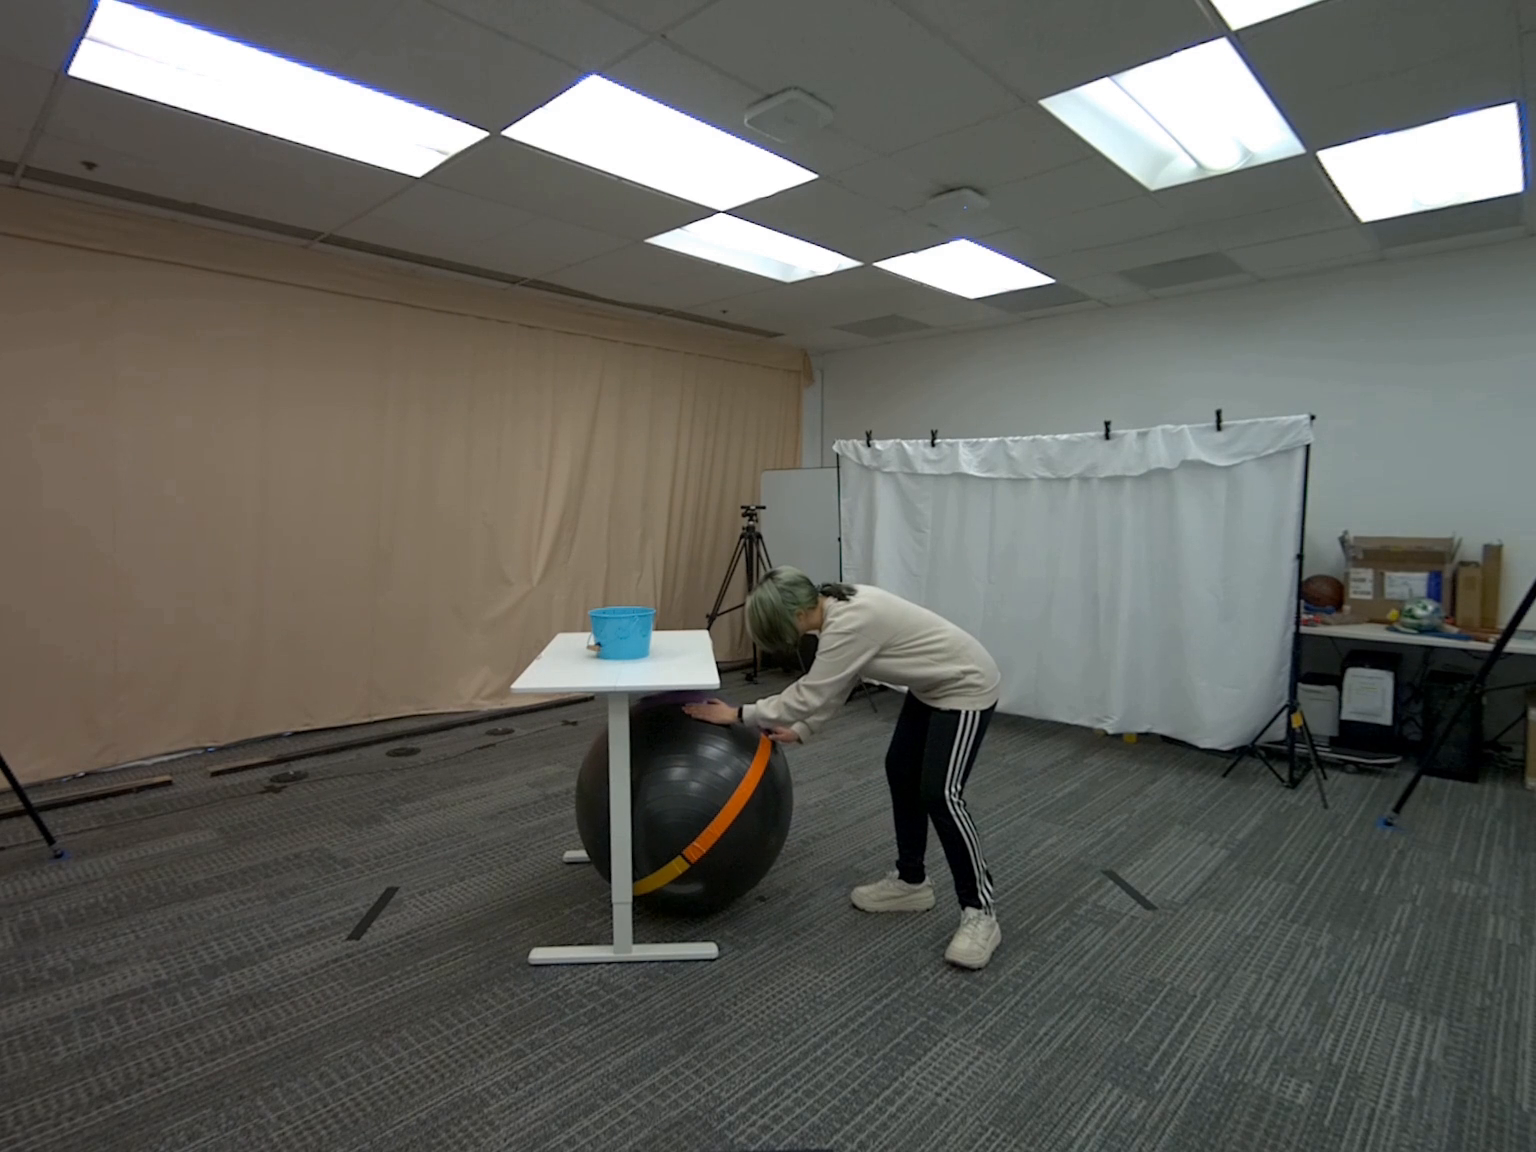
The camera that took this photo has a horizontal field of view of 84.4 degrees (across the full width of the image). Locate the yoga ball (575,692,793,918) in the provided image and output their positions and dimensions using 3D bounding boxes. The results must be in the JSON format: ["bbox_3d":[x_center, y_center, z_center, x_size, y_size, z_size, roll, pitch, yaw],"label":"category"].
[{"bbox_3d":[-0.292,0.778,2.949,0.757,0.756,0.760,0,4,-2],"label":"yoga ball"}]
